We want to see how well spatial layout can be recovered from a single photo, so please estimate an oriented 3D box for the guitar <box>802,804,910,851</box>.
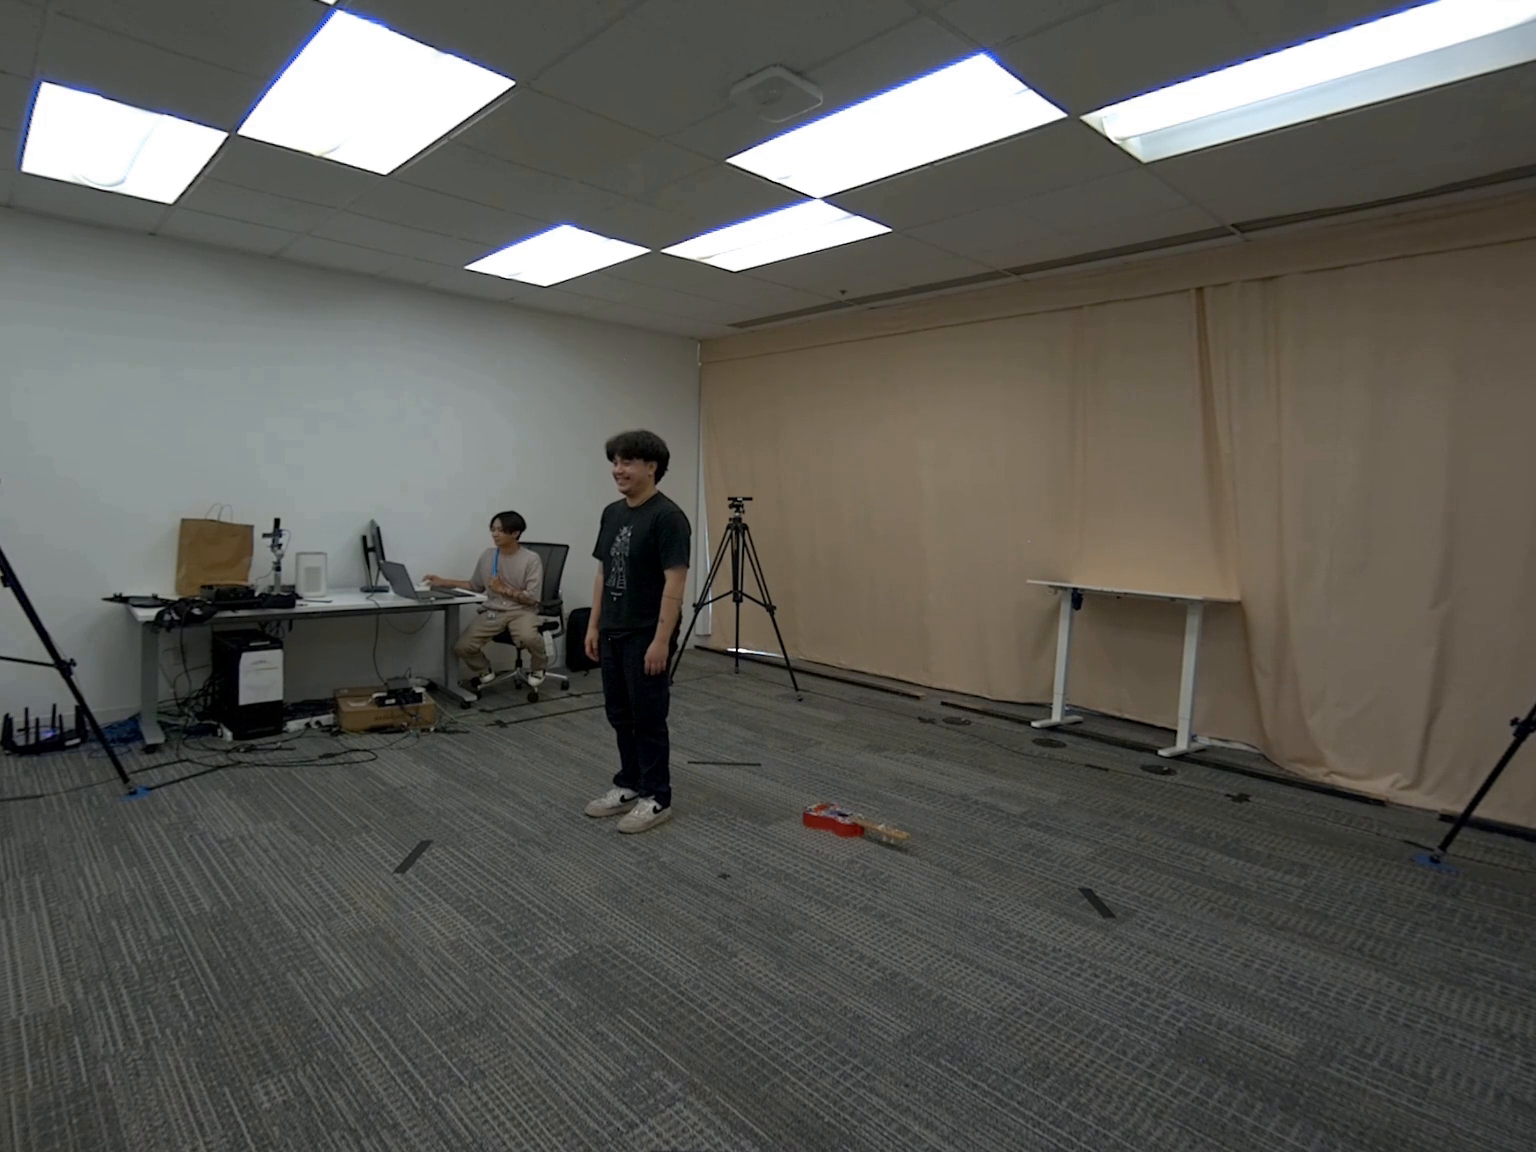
[{"bbox_3d":[0.336,1.049,3.523,0.188,0.070,0.510,-1,4,-38],"label":"guitar"}]
